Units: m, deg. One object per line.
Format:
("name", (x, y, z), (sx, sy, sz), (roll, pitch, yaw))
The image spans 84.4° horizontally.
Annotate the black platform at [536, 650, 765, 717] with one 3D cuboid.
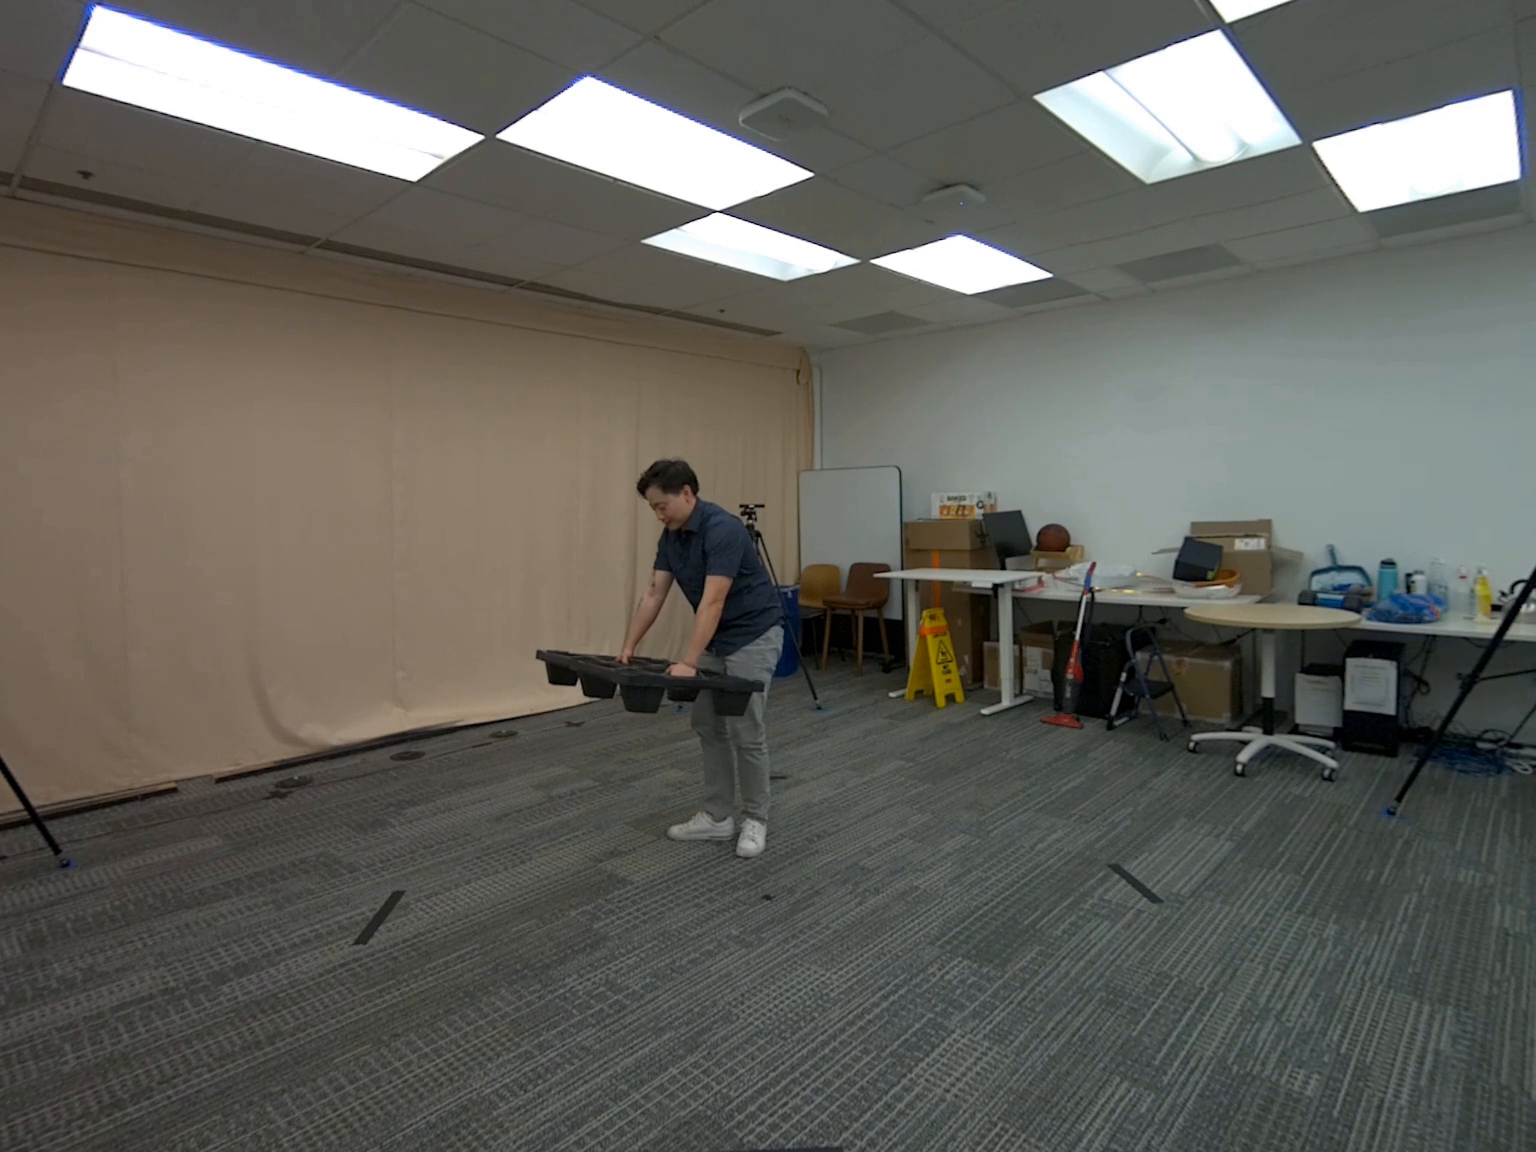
("black platform", (-0.490, 0.415, 3.284), (0.586, 0.143, 0.830), (9, -3, -35))
